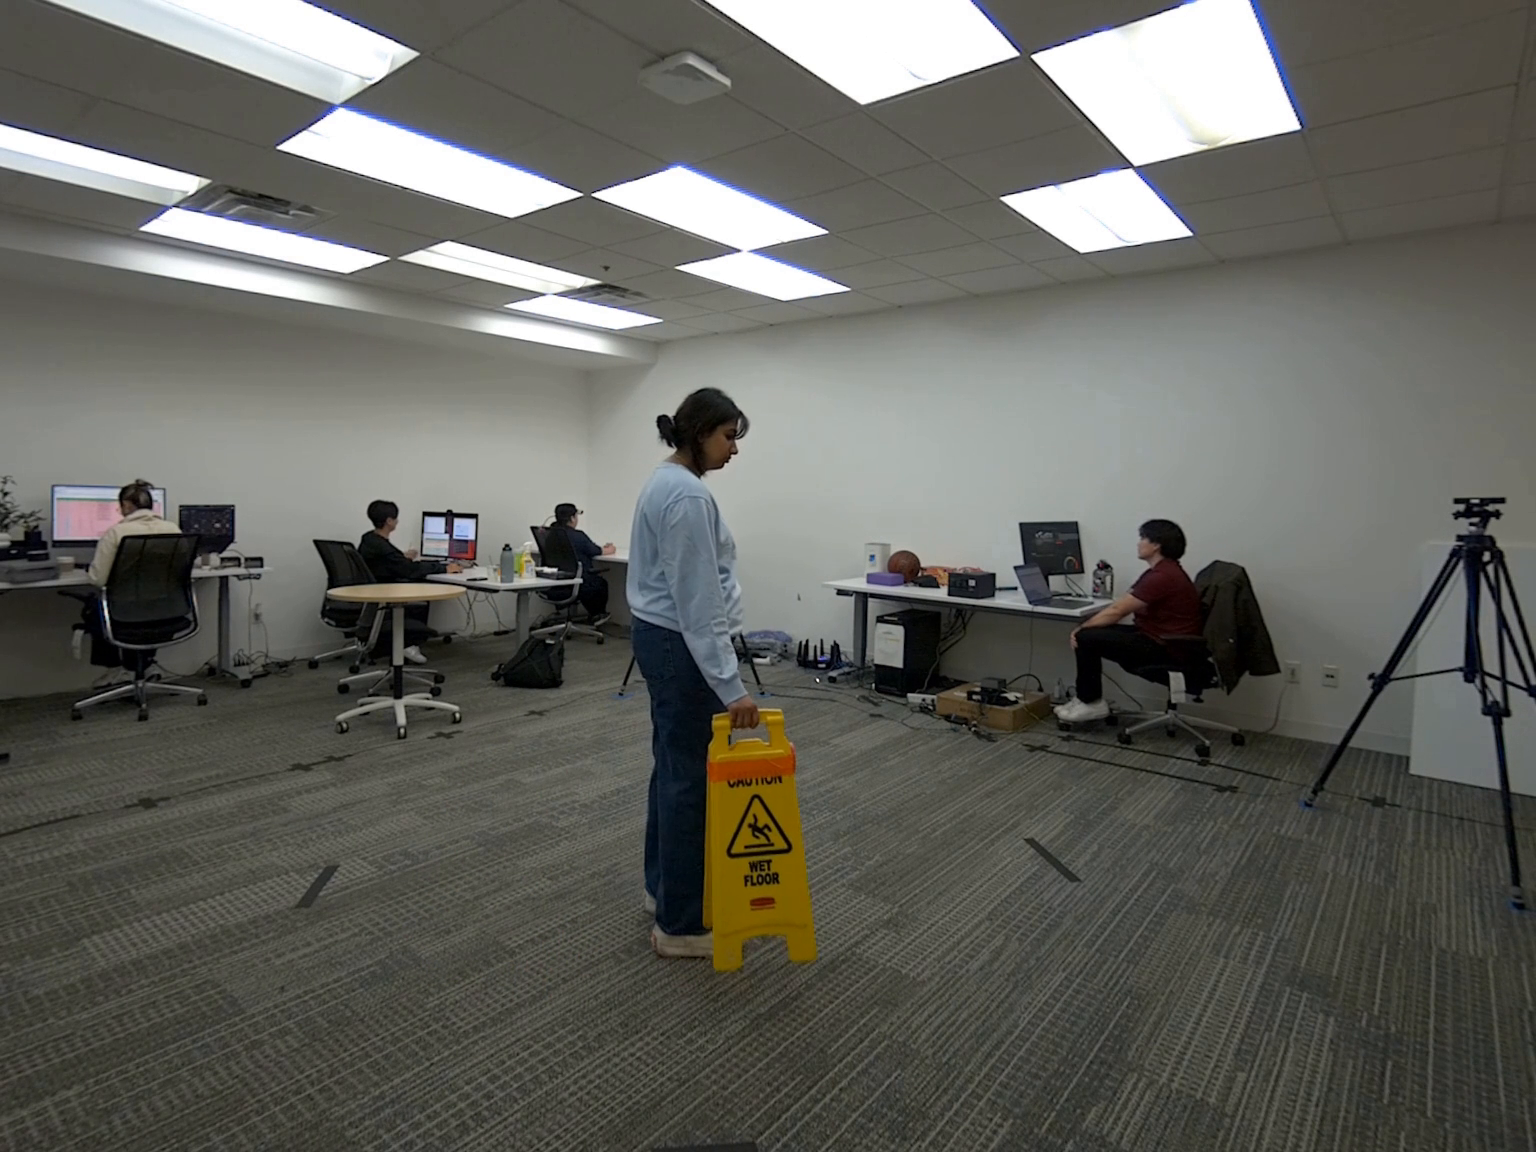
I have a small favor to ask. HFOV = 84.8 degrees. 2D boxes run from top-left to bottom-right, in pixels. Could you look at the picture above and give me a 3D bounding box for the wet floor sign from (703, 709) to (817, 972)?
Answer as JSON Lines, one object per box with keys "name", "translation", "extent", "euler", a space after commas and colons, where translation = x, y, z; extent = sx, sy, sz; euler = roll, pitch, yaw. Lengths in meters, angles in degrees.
{"name": "wet floor sign", "translation": [-0.053, 0.697, 2.355], "extent": [0.280, 0.644, 0.293], "euler": [-1, 3, -8]}
